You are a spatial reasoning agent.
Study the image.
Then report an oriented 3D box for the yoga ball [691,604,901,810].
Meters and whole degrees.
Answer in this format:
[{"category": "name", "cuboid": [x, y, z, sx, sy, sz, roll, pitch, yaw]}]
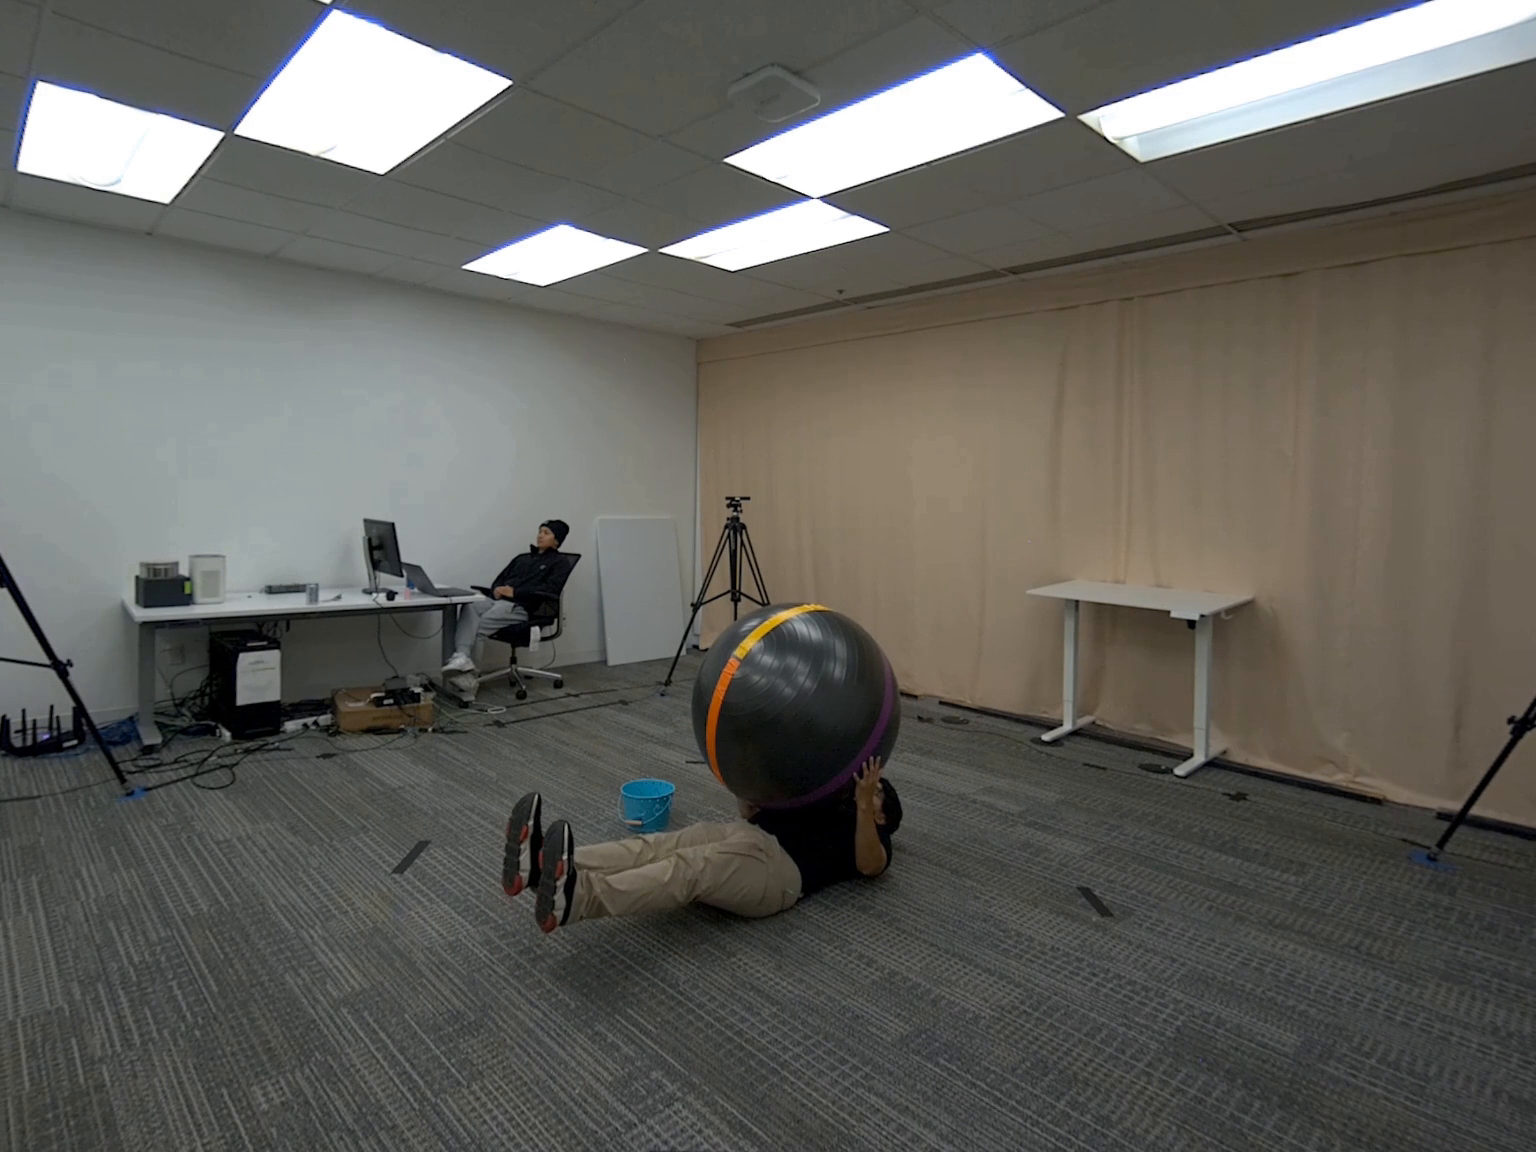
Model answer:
[{"category": "yoga ball", "cuboid": [0.094, 0.480, 3.065, 0.757, 0.755, 0.761, 1, 5, -1]}]
